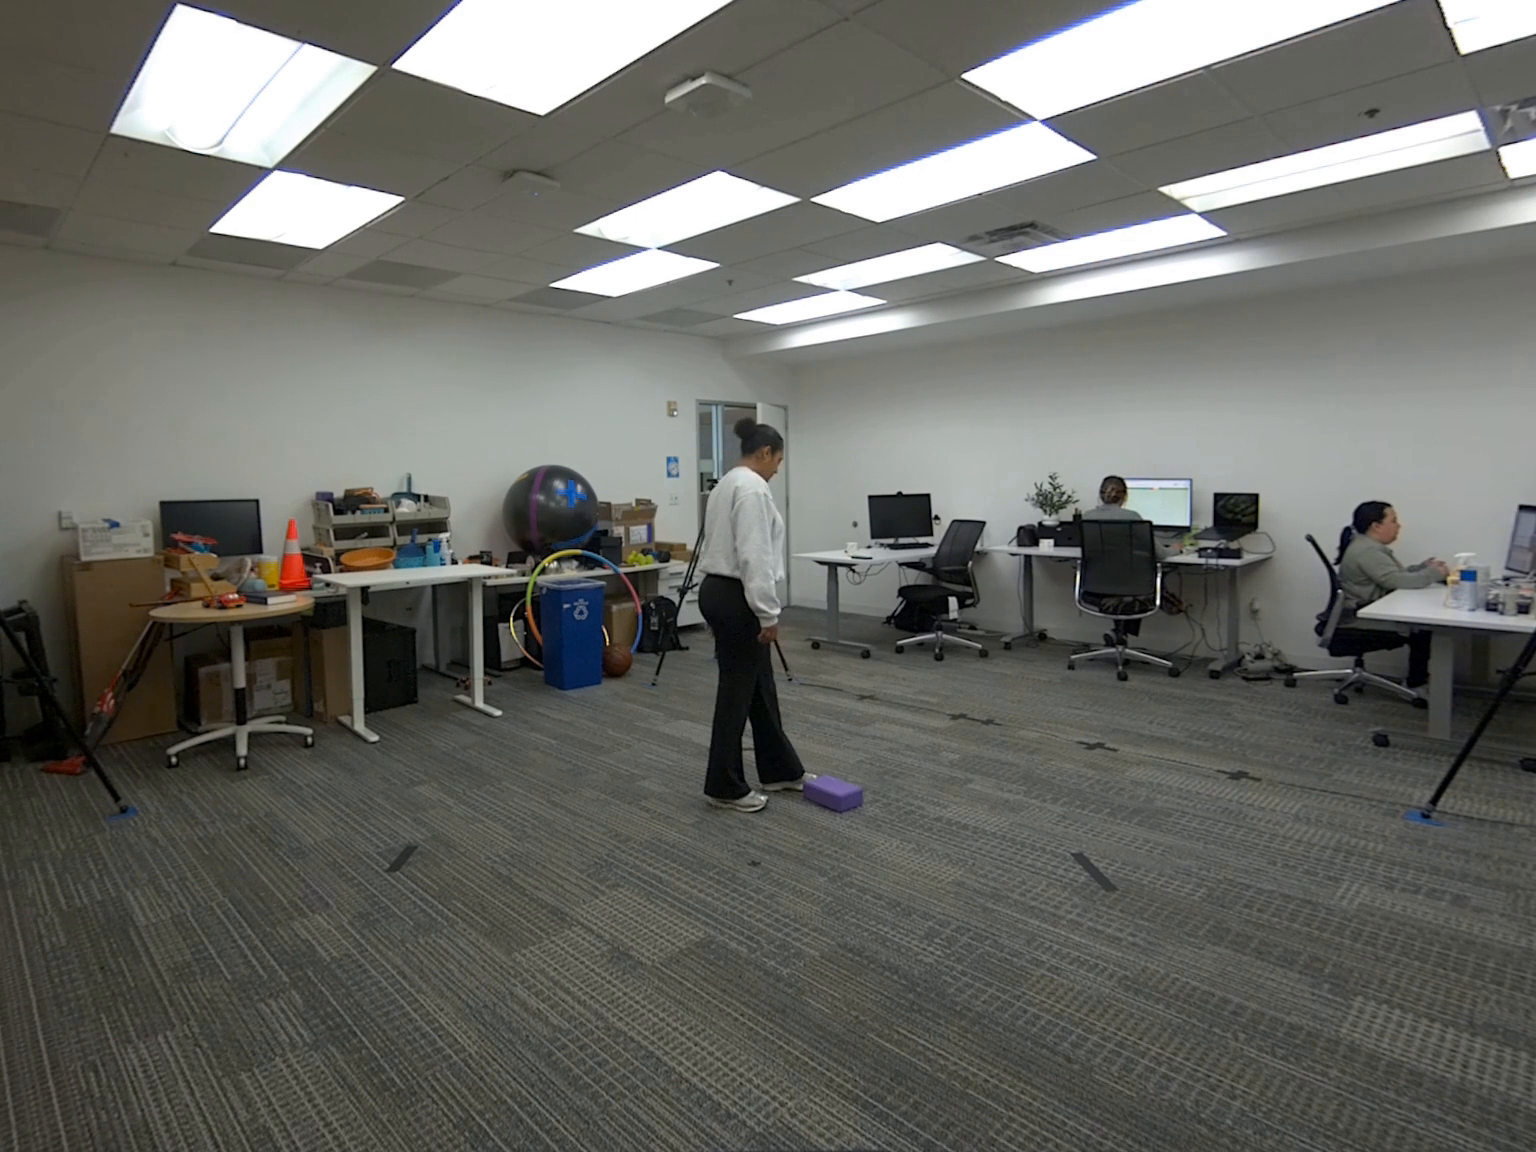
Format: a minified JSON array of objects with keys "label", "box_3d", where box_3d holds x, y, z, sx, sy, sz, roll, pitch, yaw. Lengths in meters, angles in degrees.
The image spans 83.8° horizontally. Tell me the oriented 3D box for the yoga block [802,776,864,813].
[{"label":"yoga block","box_3d":[0.269,0.926,3.688,0.145,0.076,0.236,-4,7,-40]}]
